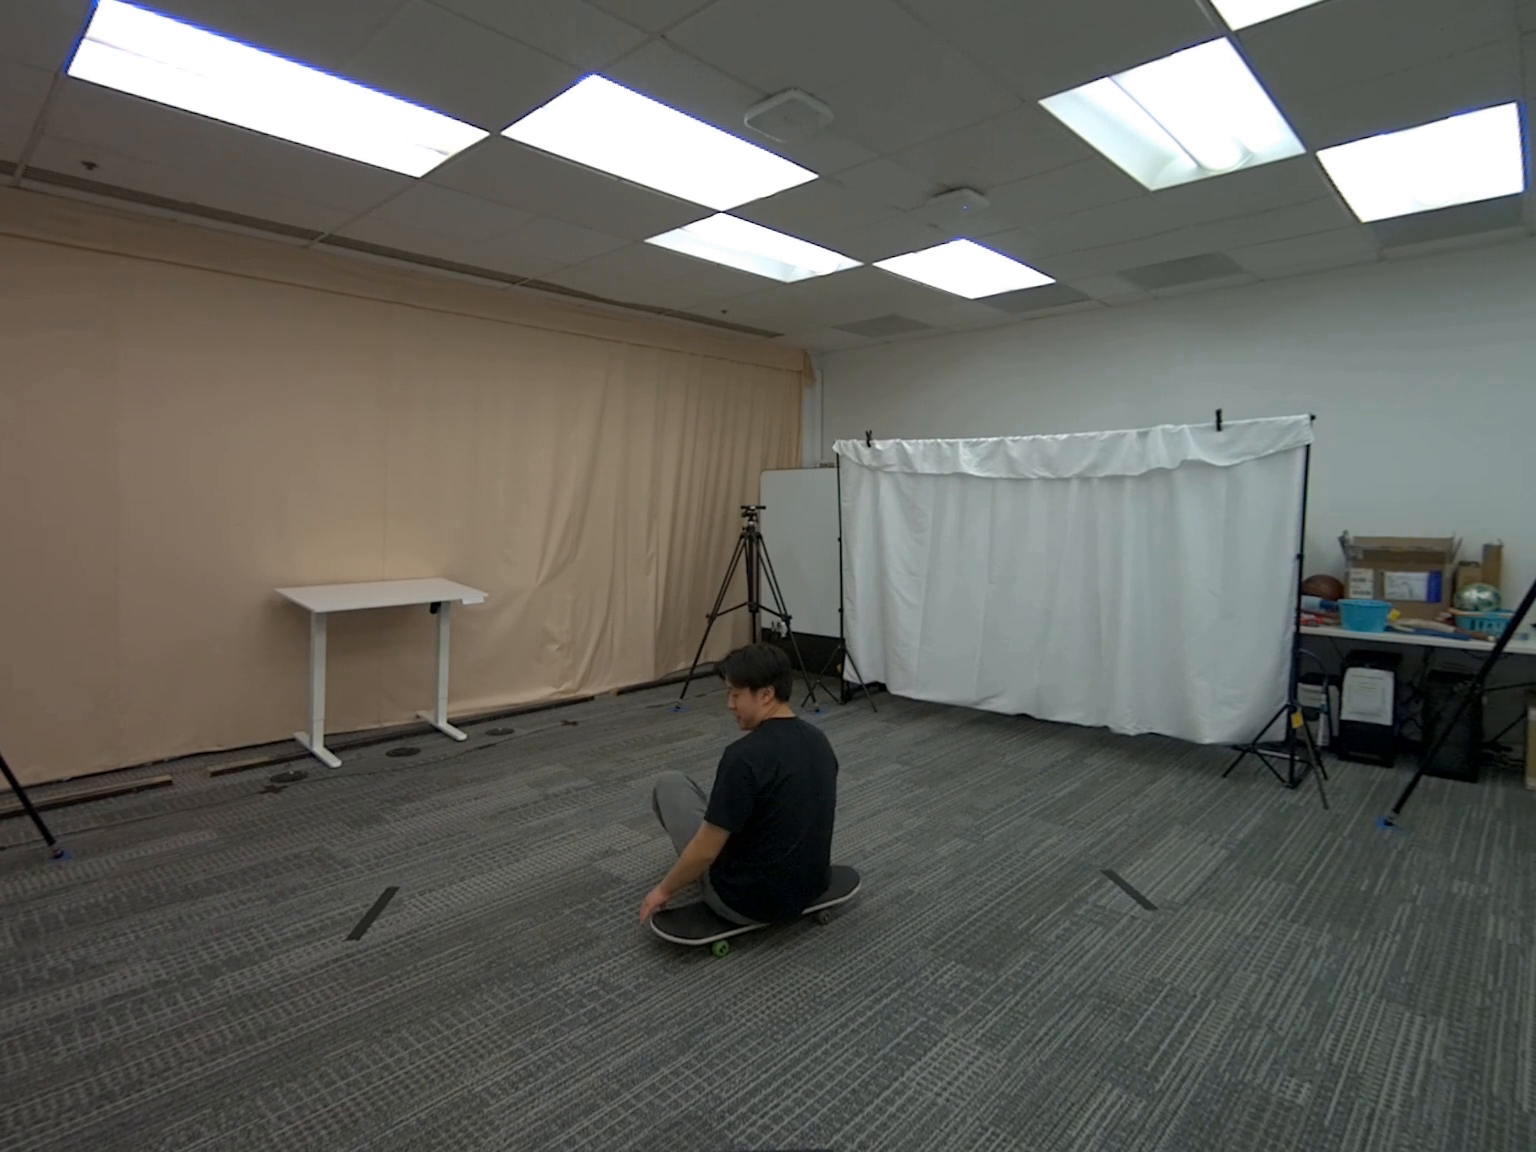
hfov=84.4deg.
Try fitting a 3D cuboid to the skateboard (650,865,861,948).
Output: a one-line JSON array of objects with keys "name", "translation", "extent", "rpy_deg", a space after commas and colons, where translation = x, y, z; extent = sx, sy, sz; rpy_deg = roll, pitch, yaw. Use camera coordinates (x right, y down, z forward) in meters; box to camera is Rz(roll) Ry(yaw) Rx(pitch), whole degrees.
[{"name": "skateboard", "translation": [-0.020, 1.108, 2.768], "extent": [0.764, 0.110, 0.200], "rpy_deg": [-4, 12, -31]}]
